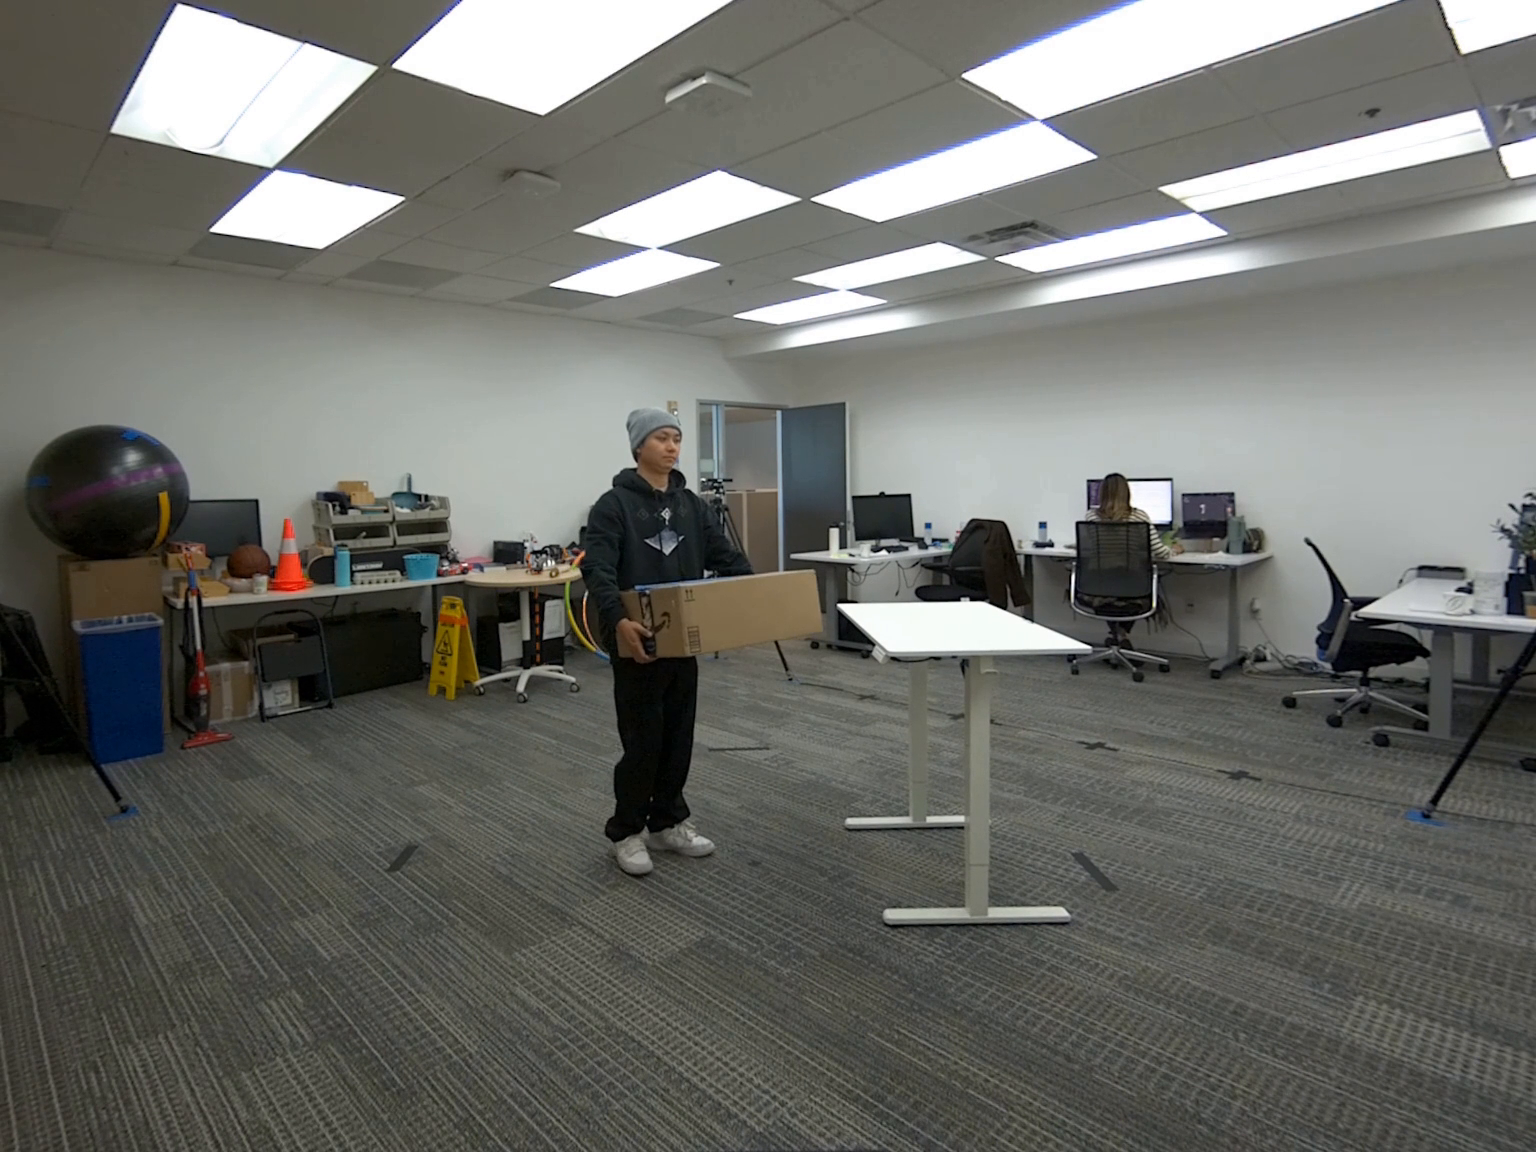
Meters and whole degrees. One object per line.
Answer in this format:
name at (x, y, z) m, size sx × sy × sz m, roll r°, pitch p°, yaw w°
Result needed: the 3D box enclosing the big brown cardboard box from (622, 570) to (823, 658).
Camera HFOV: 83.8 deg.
big brown cardboard box at (-0.176, 0.130, 2.870) m, size 0.574 × 0.234 × 0.427 m, roll -5°, pitch -2°, yaw -39°
